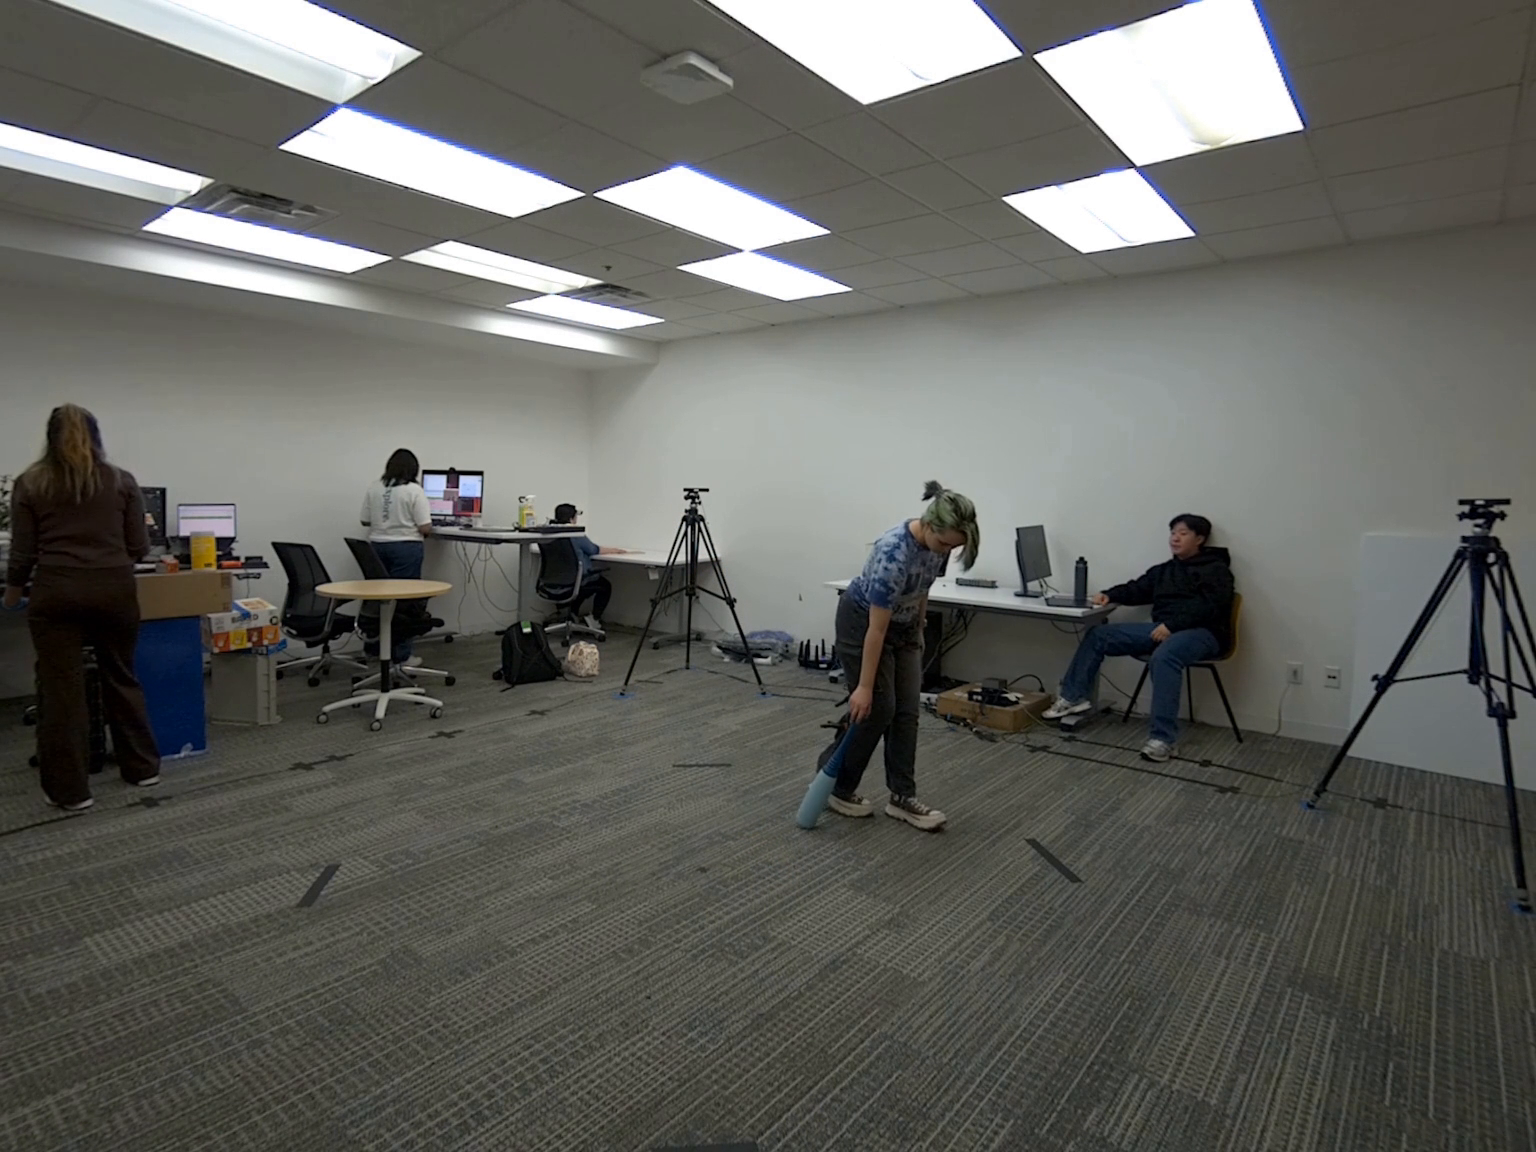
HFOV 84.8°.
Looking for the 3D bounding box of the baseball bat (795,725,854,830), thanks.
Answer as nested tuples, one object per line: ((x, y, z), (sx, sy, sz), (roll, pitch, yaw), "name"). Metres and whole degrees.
((0.252, 0.788, 3.474), (0.088, 0.540, 0.090), (23, 11, -7), "baseball bat")
